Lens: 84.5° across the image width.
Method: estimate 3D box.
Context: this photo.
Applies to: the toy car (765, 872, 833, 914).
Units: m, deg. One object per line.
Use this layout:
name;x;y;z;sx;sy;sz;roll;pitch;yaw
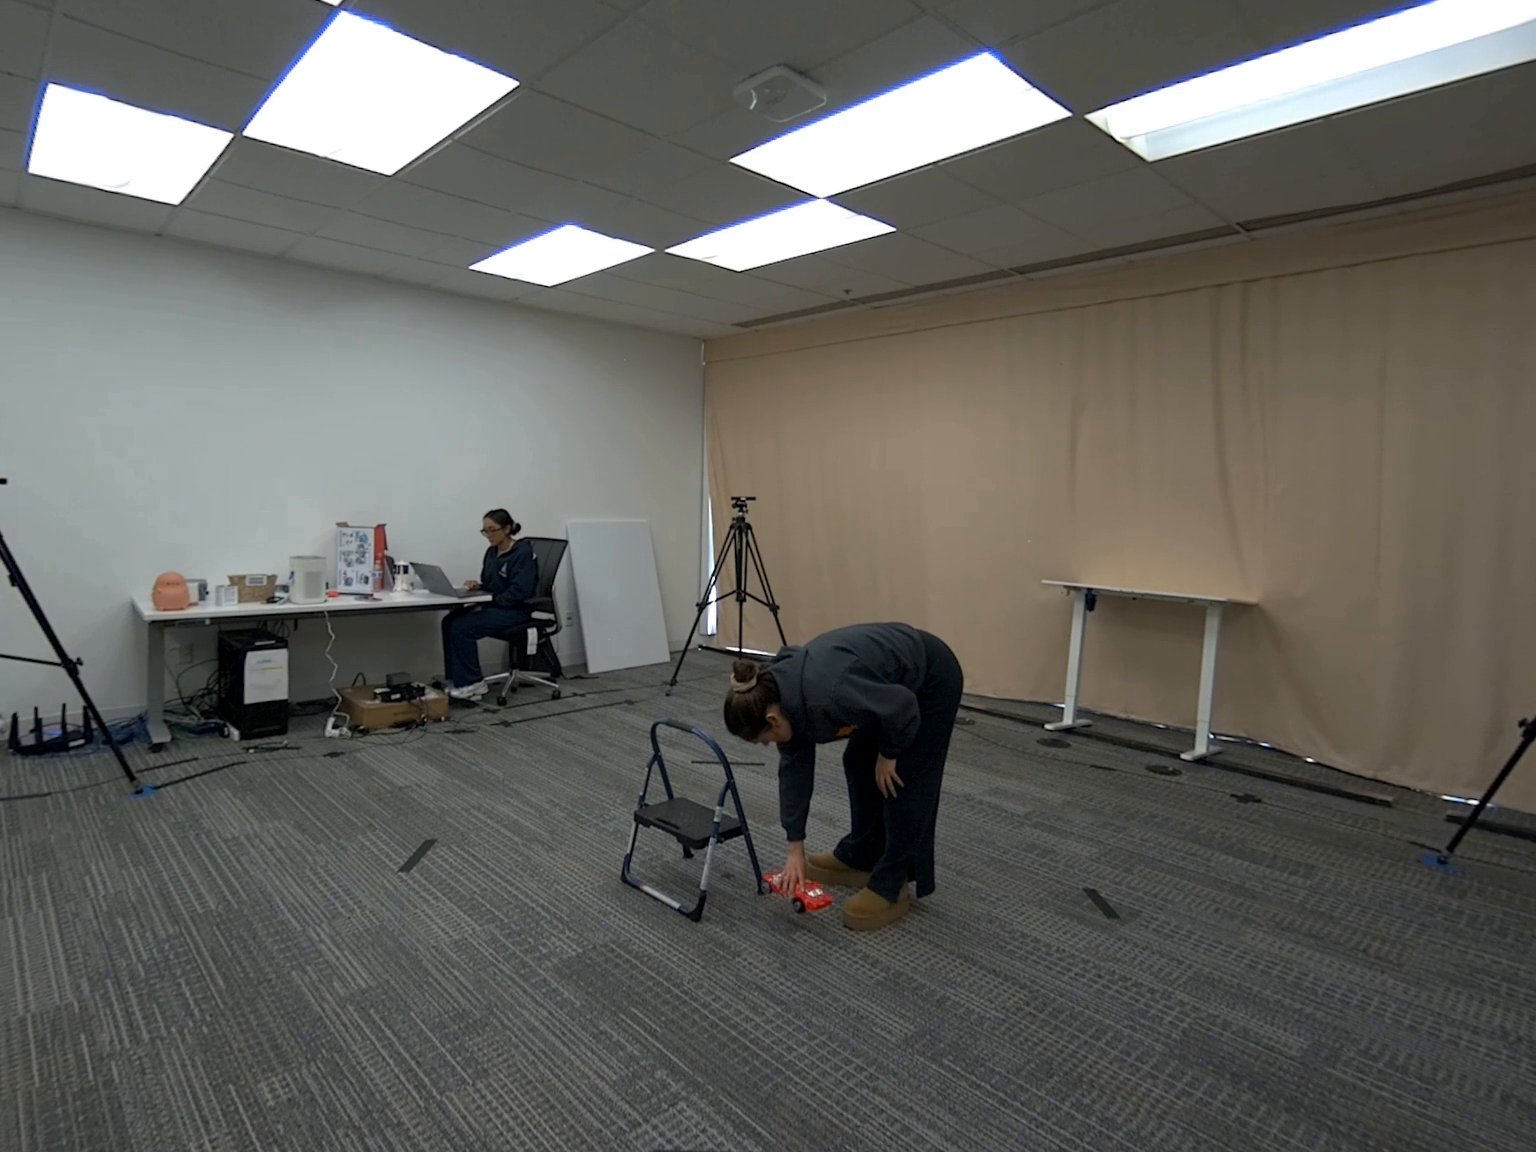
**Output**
toy car;0.098;1.041;2.753;0.127;0.083;0.260;3;-4;-43
